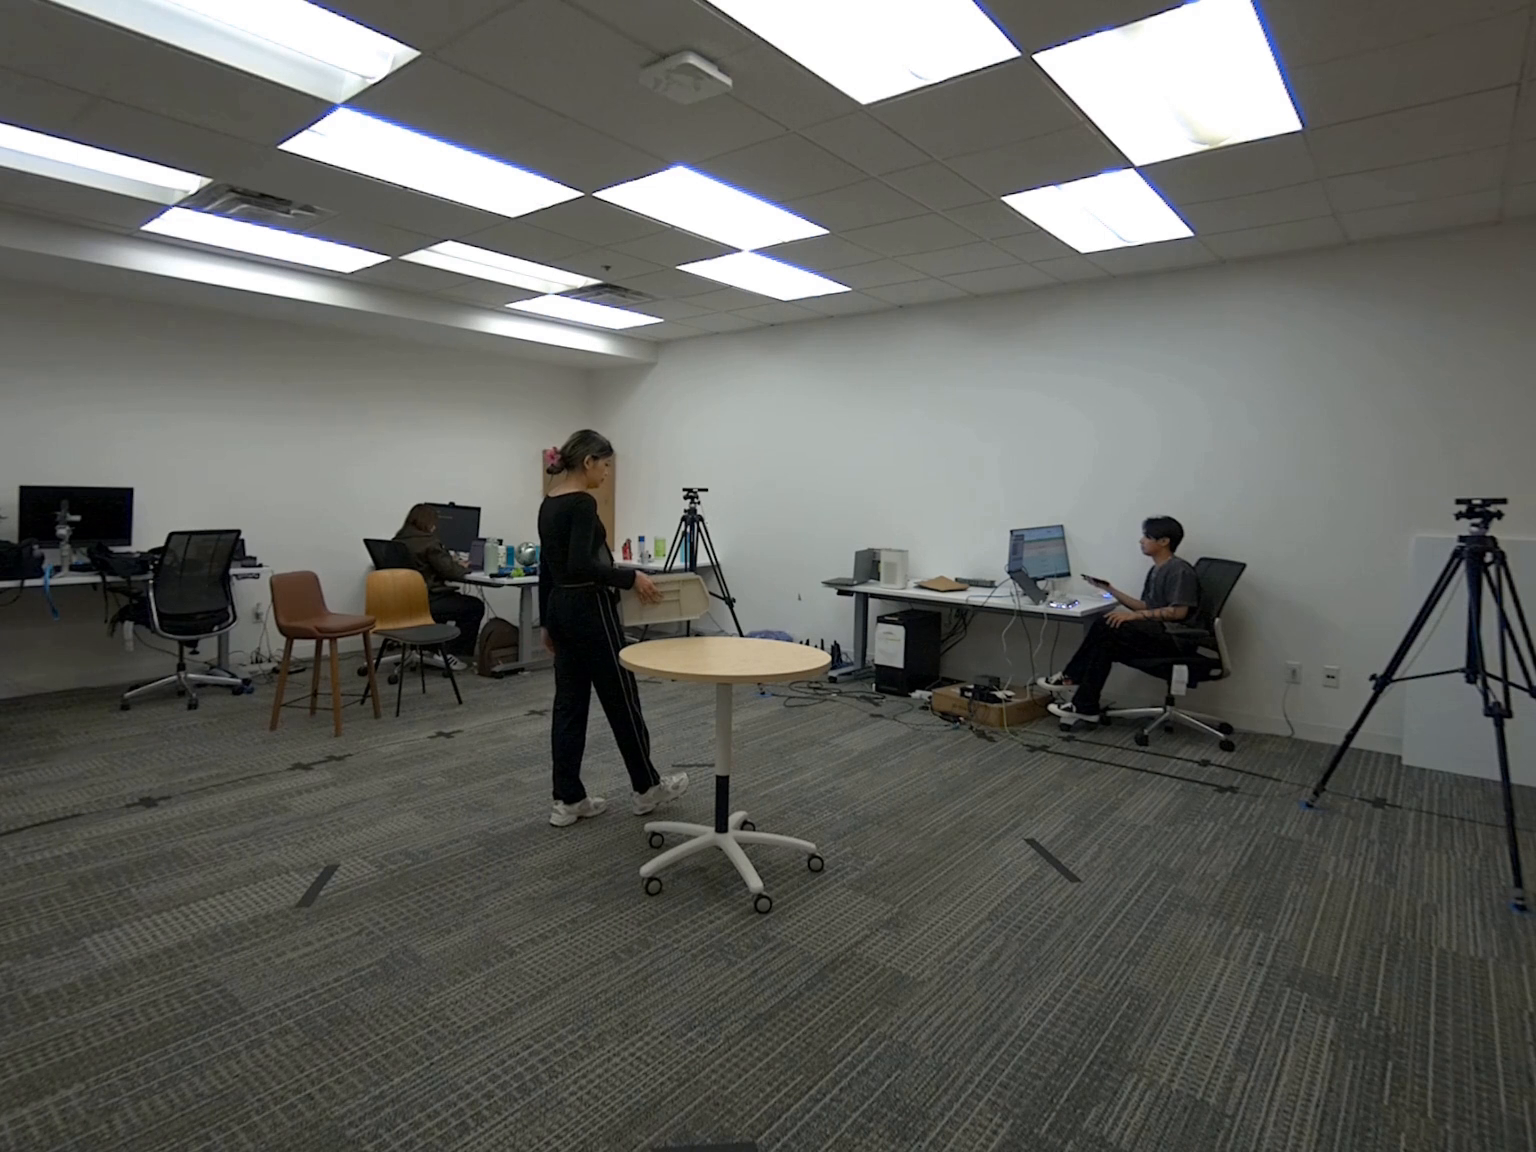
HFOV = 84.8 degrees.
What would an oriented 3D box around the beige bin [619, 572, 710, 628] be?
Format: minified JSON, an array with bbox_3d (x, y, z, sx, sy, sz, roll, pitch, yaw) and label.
[{"bbox_3d":[-0.457,0.094,3.692,0.376,0.188,0.425,-5,4,-5],"label":"beige bin"}]
